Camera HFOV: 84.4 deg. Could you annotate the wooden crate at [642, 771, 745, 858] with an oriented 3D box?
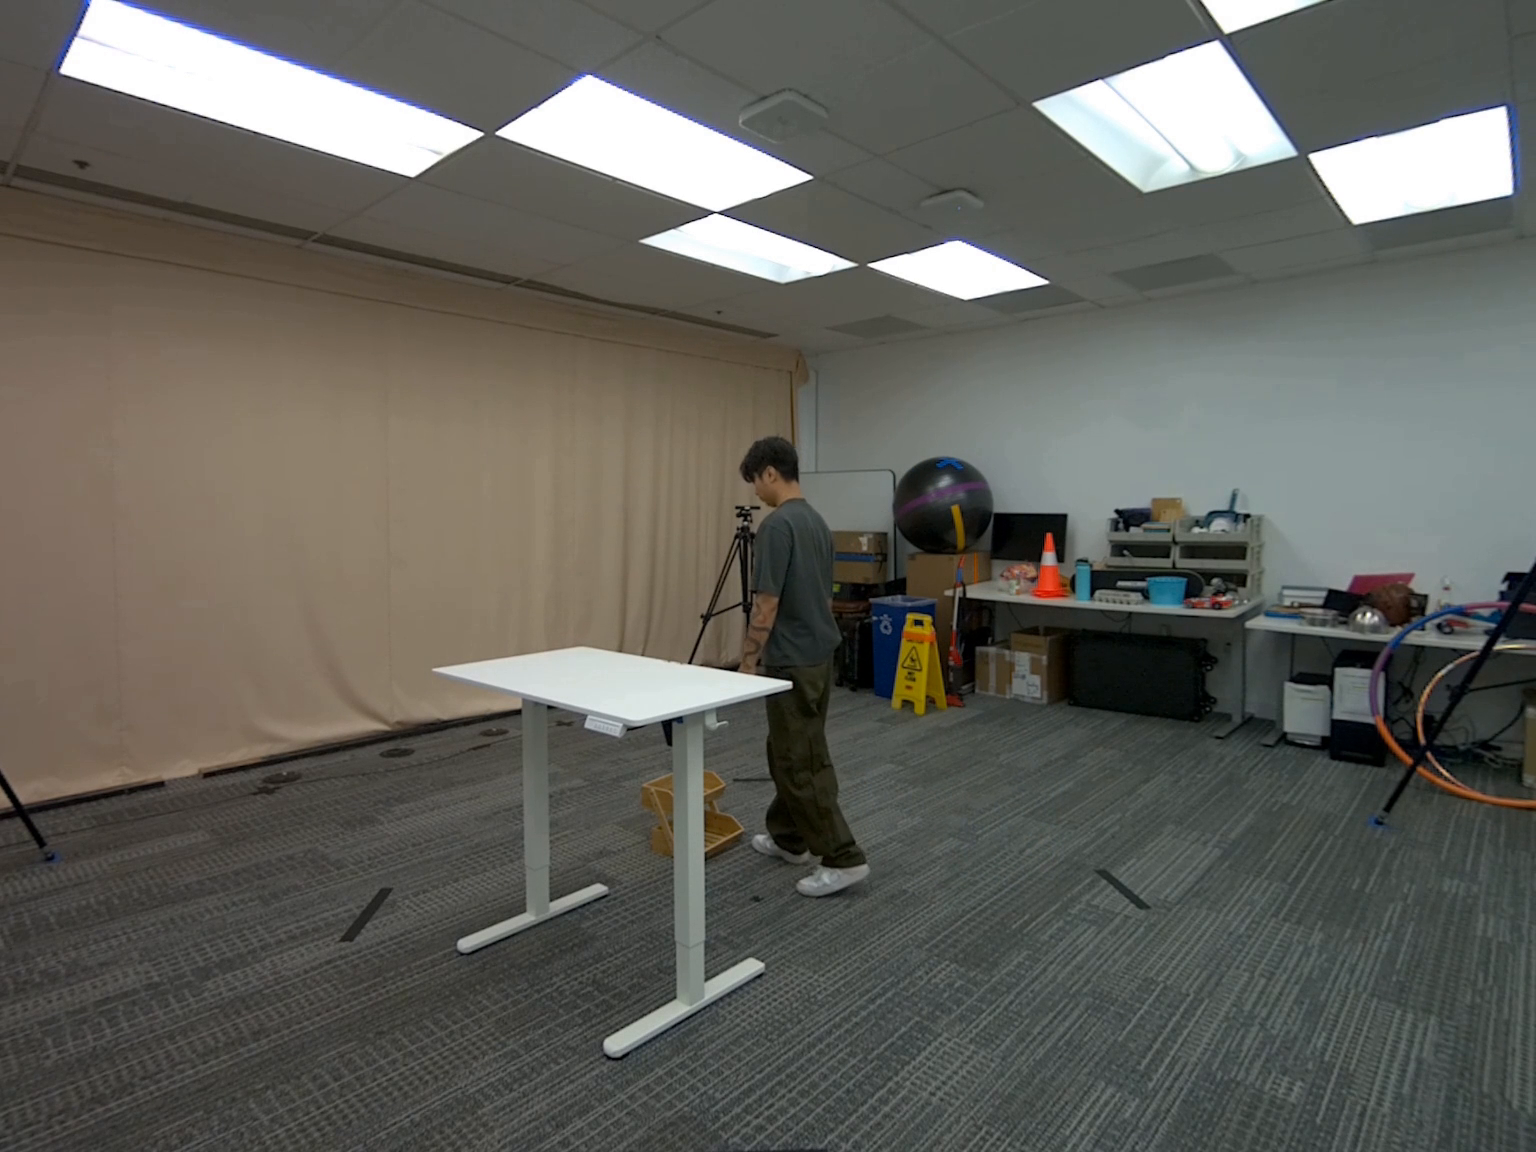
[{"bbox_3d":[-0.300,0.968,3.461,0.311,0.273,0.315,1,4,35],"label":"wooden crate"}]
